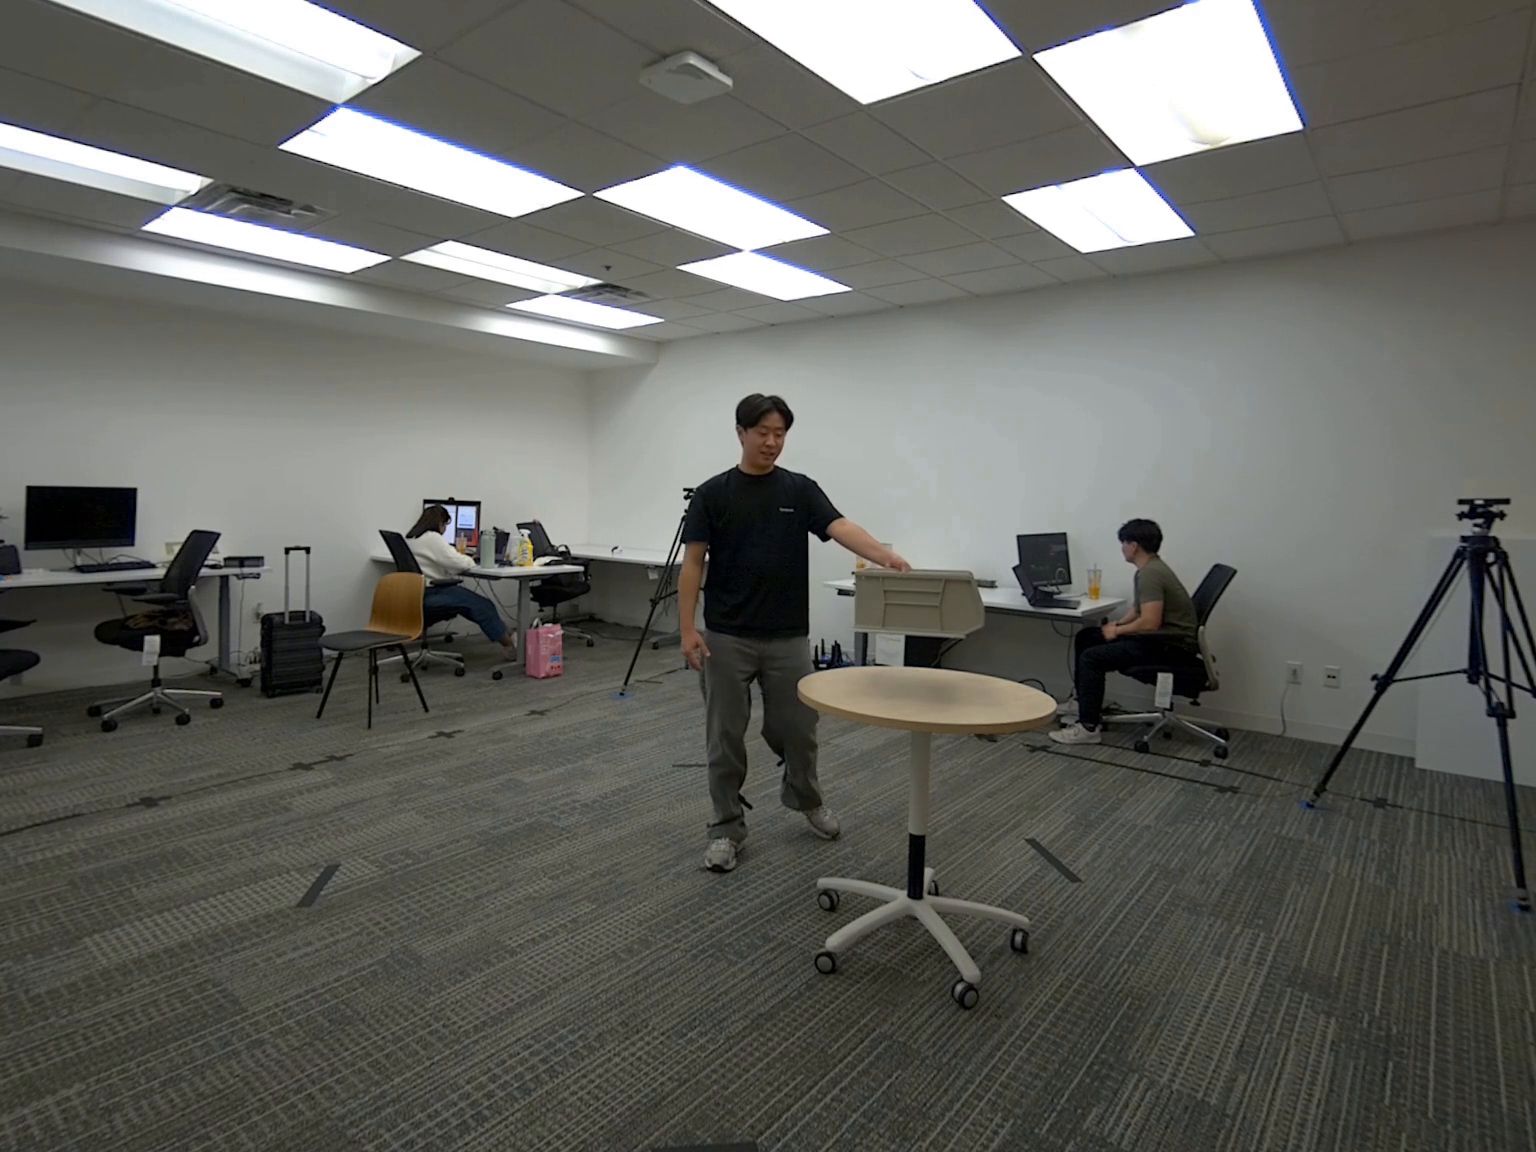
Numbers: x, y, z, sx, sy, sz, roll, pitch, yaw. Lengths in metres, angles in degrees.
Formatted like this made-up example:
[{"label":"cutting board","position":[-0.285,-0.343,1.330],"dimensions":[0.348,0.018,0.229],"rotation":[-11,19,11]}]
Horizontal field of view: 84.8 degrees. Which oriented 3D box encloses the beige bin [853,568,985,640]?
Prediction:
[{"label":"beige bin","position":[0.477,0.071,2.647],"dimensions":[0.383,0.189,0.416],"rotation":[1,1,12]}]
